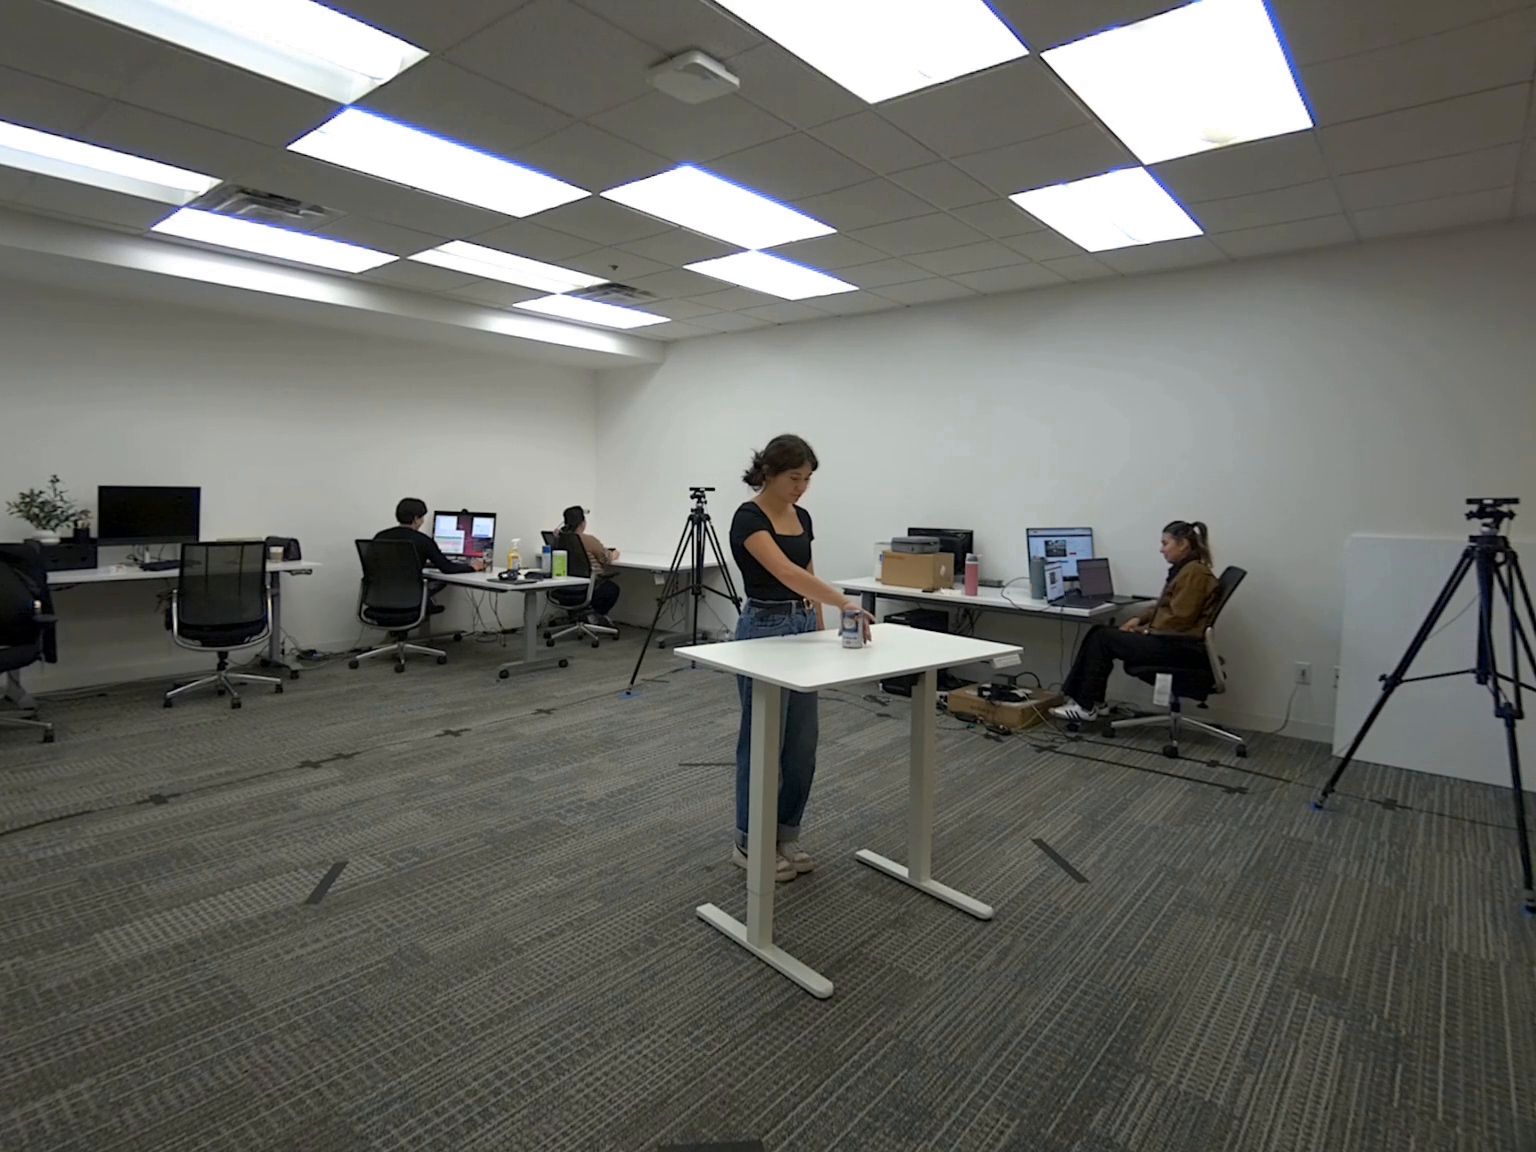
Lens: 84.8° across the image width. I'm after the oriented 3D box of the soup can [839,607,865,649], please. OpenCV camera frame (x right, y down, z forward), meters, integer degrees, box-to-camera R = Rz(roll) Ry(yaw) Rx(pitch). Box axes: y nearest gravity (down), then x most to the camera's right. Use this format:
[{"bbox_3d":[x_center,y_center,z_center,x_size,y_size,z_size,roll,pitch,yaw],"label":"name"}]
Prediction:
[{"bbox_3d":[0.266,0.165,2.770,0.067,0.121,0.067,-1,2,-2],"label":"soup can"}]
